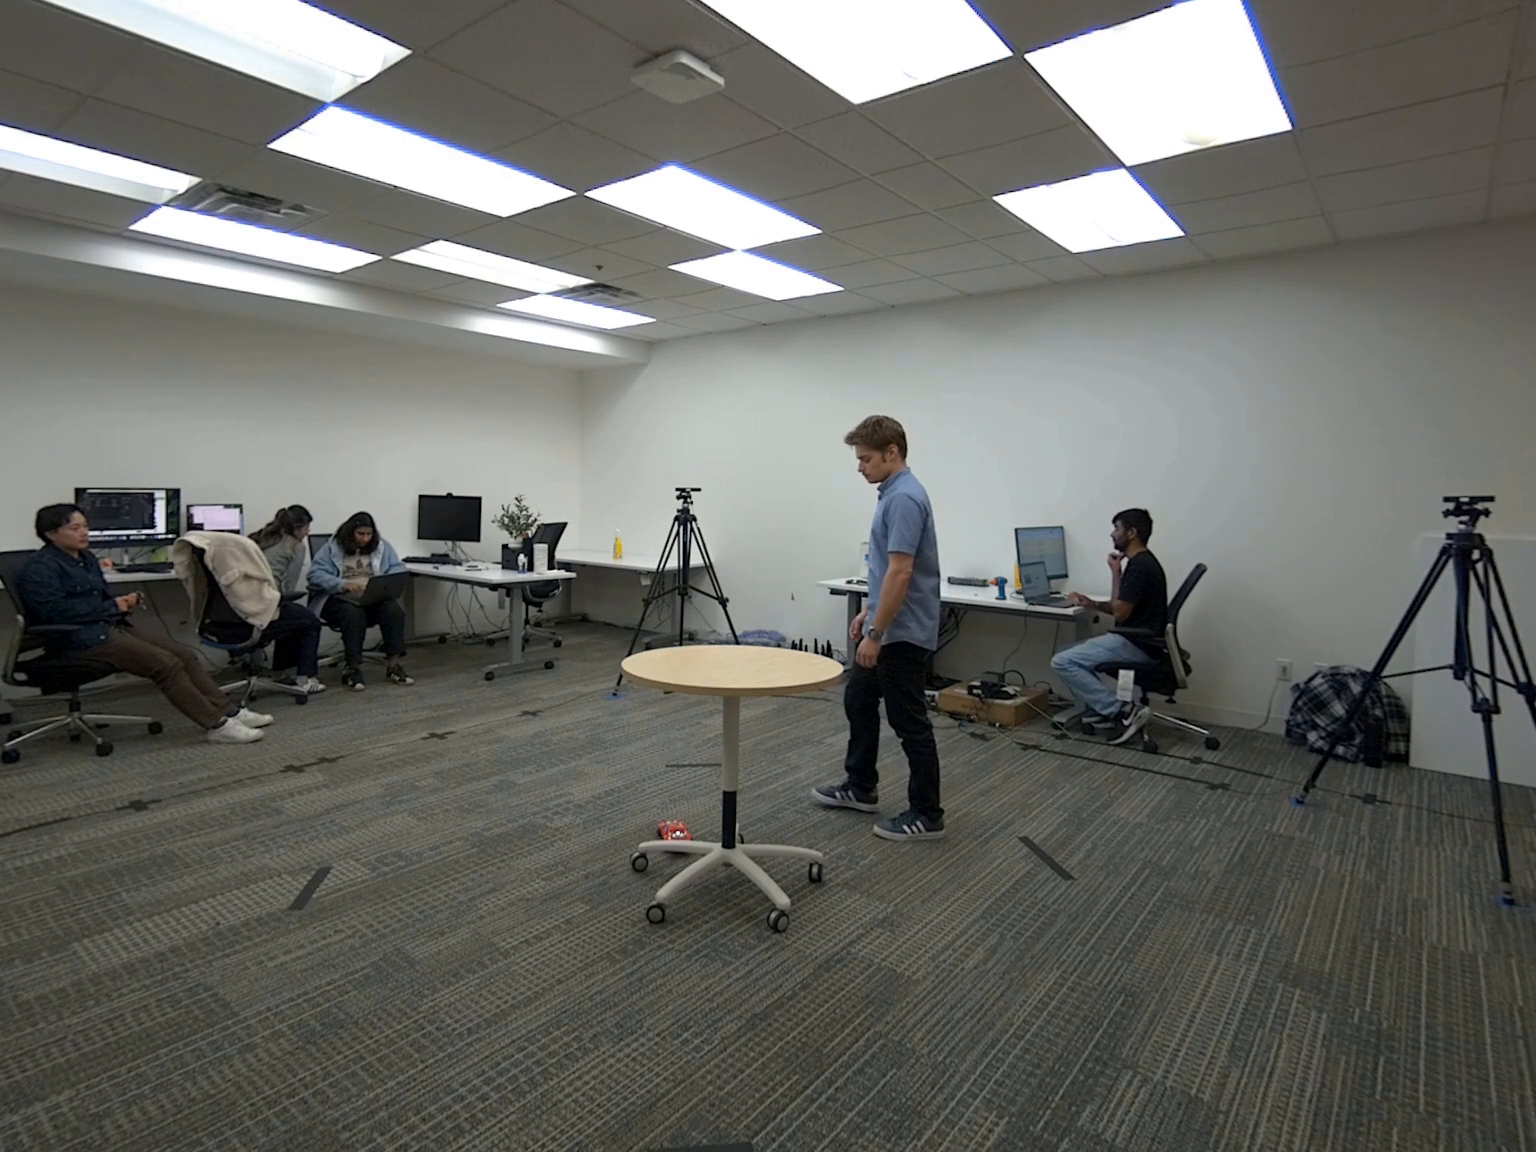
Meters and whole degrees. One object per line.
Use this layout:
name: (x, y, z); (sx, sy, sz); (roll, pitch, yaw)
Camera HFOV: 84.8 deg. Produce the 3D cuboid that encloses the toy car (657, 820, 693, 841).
toy car: (-0.376, 1.015, 3.329); (0.128, 0.084, 0.256); (-2, -5, -14)
